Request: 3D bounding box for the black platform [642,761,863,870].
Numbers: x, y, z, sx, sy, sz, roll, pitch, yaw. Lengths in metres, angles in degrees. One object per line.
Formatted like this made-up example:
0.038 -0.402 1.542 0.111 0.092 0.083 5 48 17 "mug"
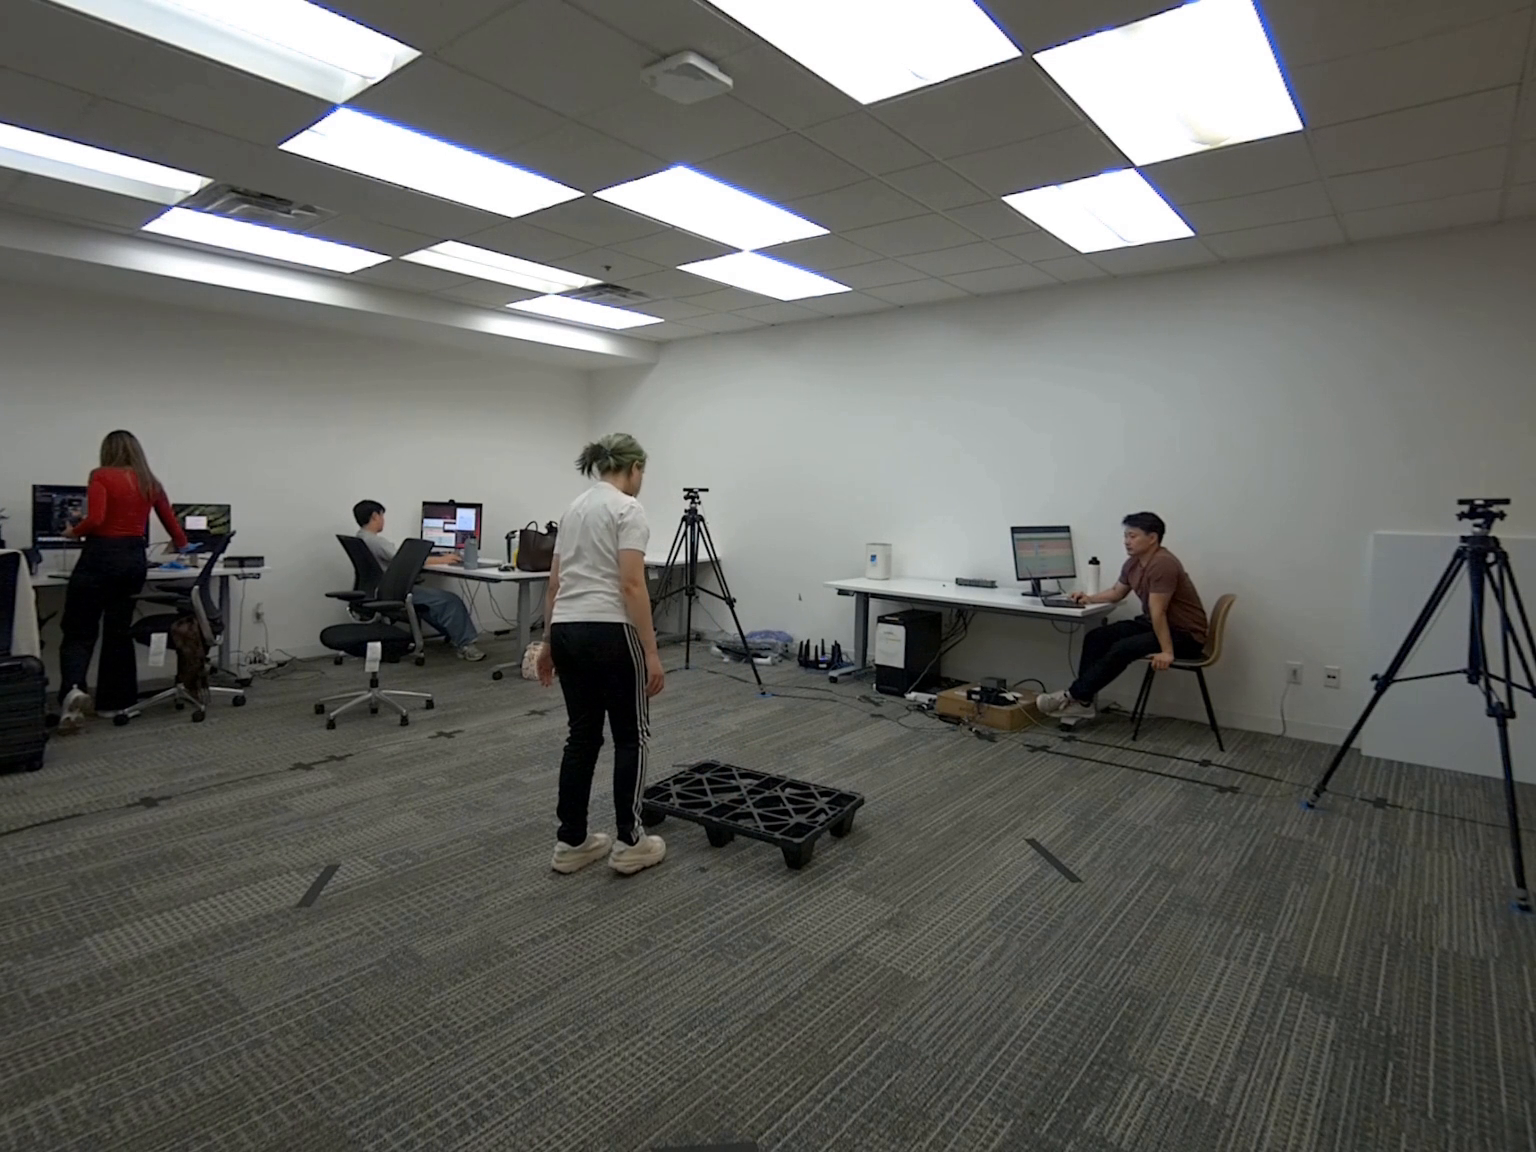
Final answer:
-0.095 0.966 3.498 0.830 0.143 0.589 4 7 31 "black platform"
